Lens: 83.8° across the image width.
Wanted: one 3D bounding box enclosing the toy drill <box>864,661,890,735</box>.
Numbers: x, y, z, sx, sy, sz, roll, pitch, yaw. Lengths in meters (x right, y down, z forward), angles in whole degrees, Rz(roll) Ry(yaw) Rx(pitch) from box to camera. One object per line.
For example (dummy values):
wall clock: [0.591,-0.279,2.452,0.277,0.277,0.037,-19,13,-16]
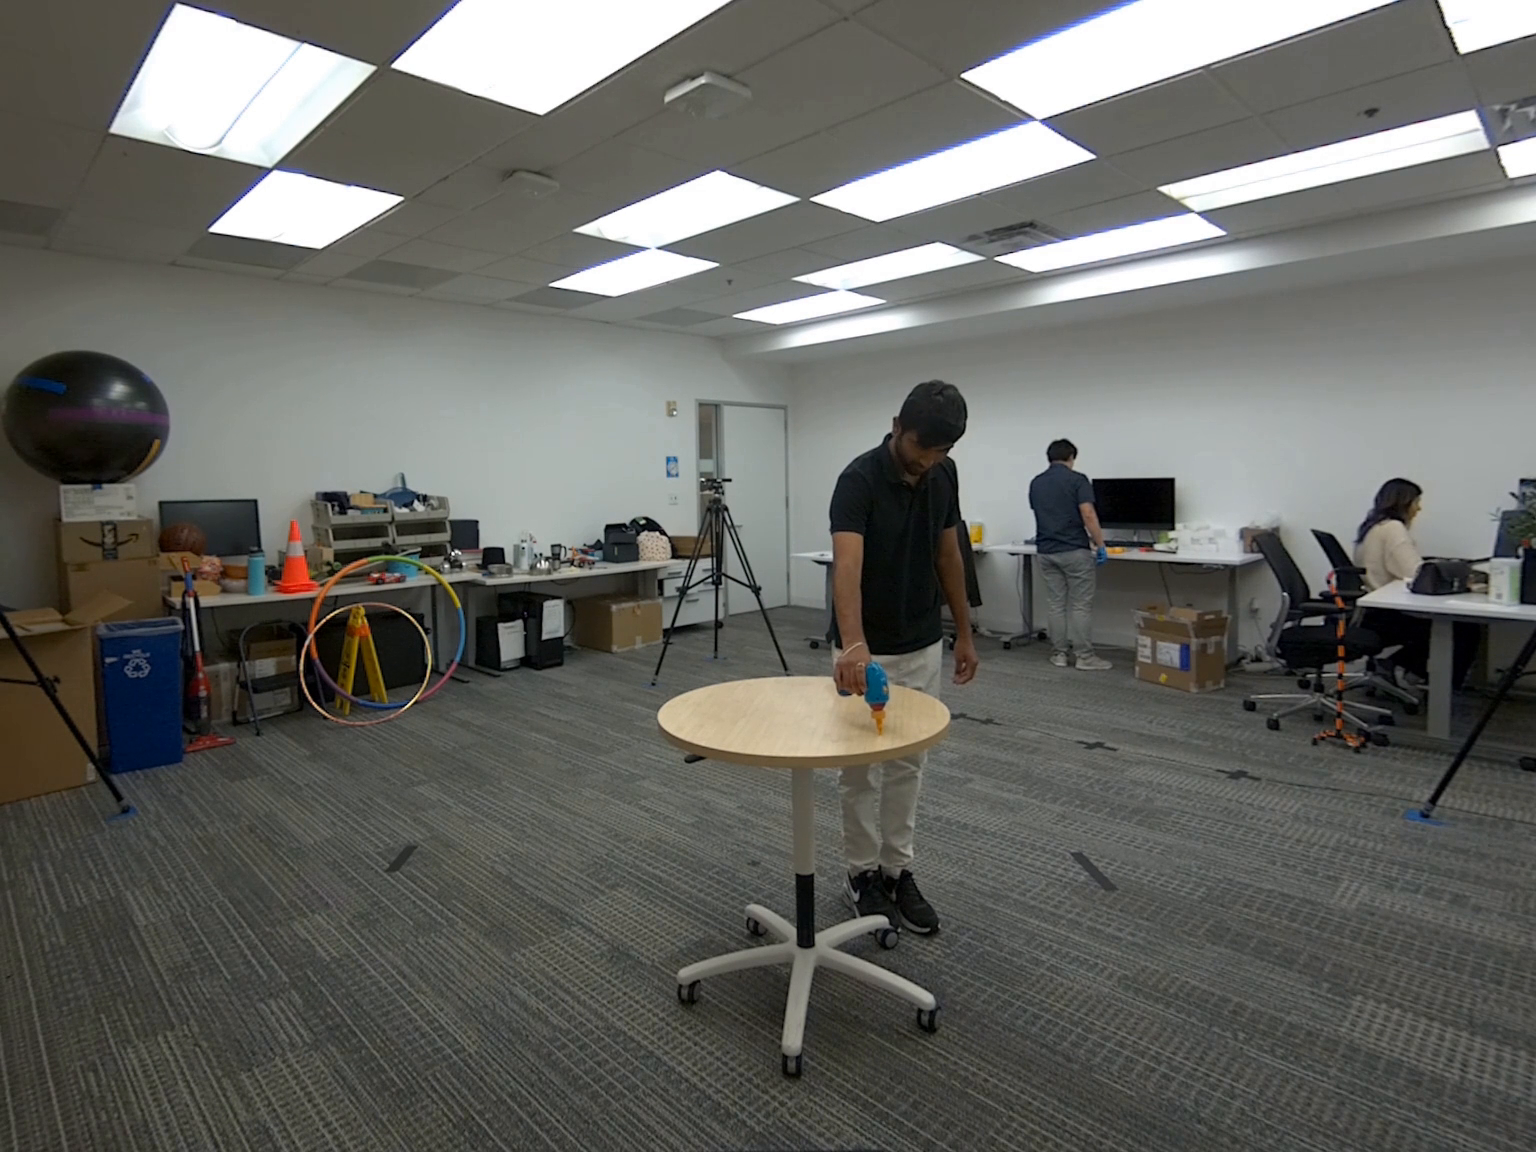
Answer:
toy drill: [0.226,0.292,2.065,0.059,0.170,0.149,-6,-5,-37]
